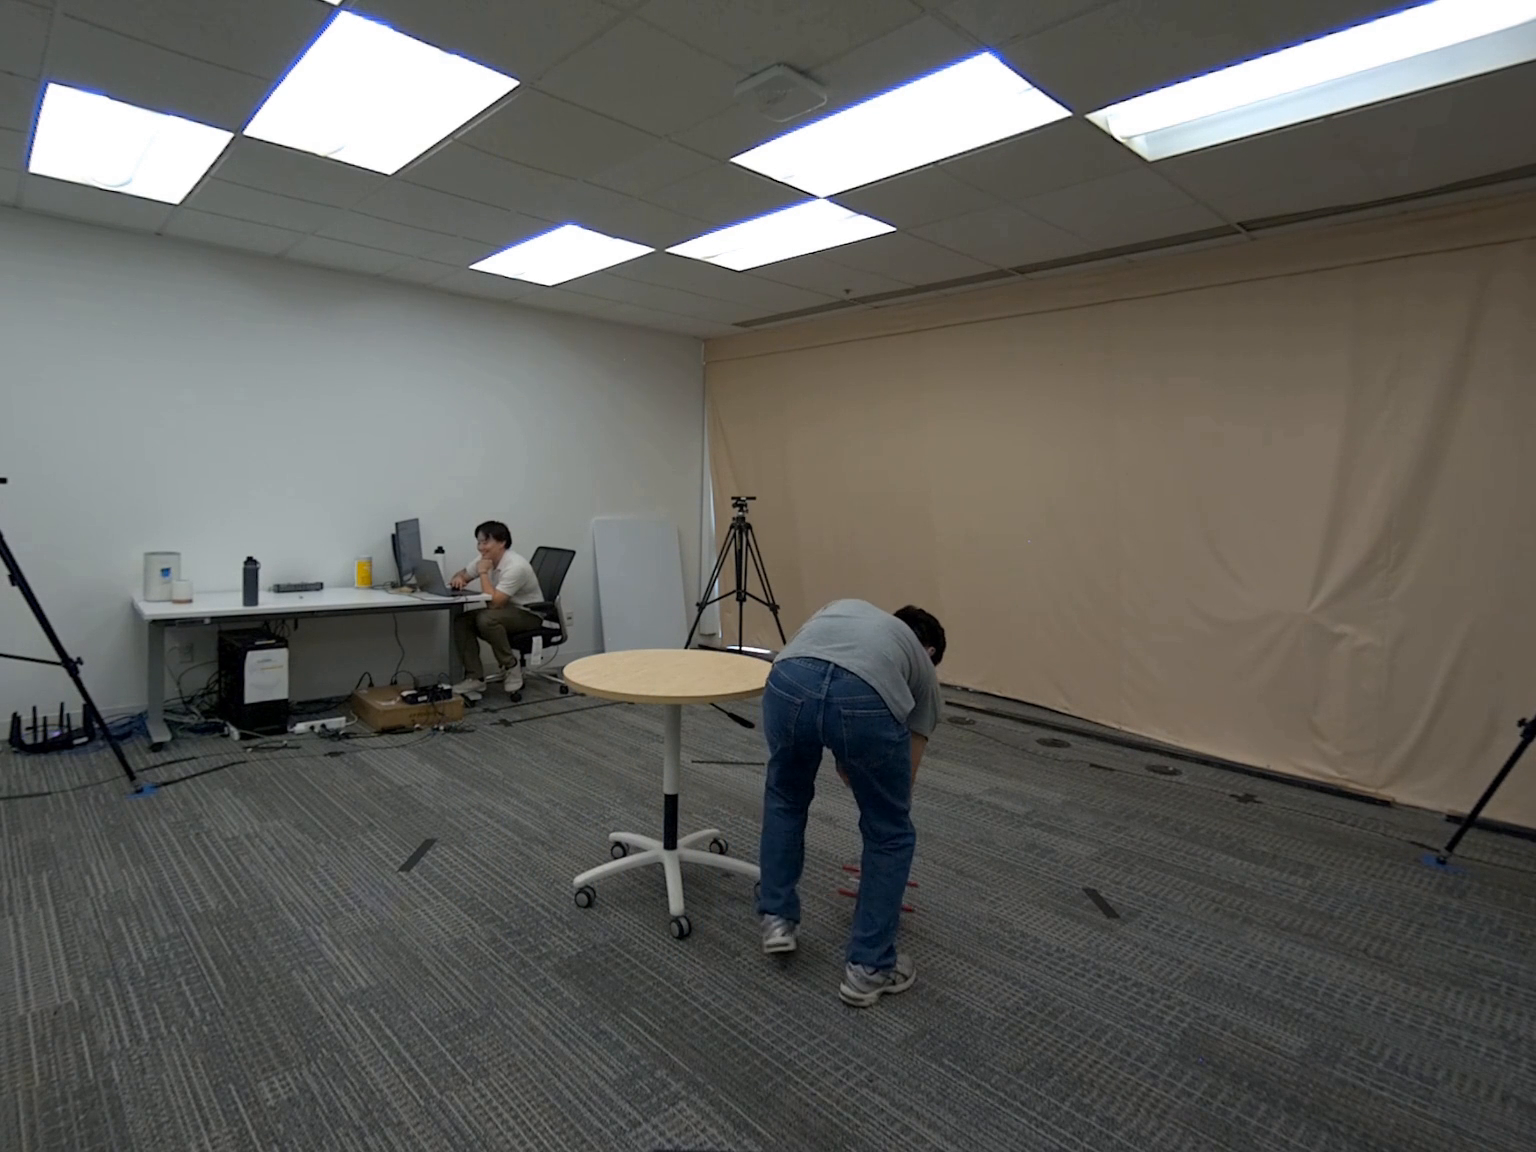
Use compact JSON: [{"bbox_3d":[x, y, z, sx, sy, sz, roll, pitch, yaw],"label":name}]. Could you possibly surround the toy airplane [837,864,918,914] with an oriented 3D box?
[{"bbox_3d":[0.358,1.039,2.736,0.251,0.158,0.256,21,-33,0],"label":"toy airplane"}]
